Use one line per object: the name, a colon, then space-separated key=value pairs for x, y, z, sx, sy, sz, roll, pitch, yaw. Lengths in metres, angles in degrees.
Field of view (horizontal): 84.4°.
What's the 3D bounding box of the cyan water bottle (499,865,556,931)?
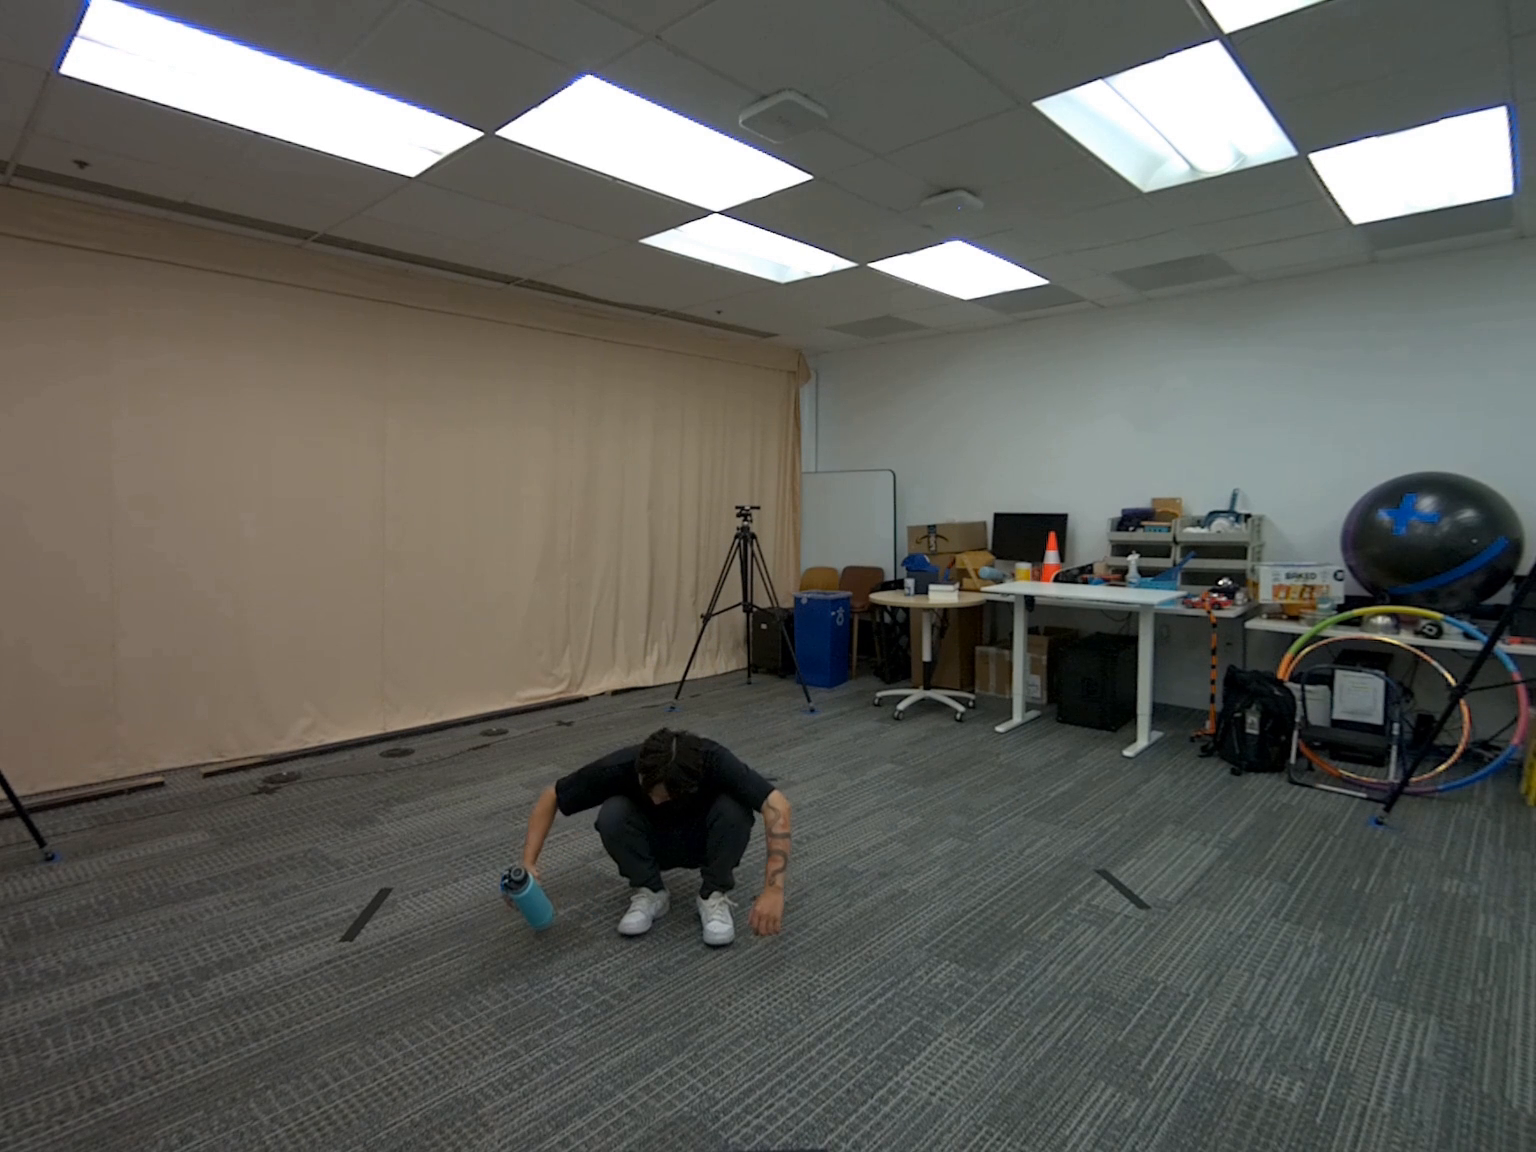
cyan water bottle: x=-0.757 y=1.013 z=2.650 sx=0.093 sy=0.276 sz=0.094 roll=-7 pitch=39 yaw=4
